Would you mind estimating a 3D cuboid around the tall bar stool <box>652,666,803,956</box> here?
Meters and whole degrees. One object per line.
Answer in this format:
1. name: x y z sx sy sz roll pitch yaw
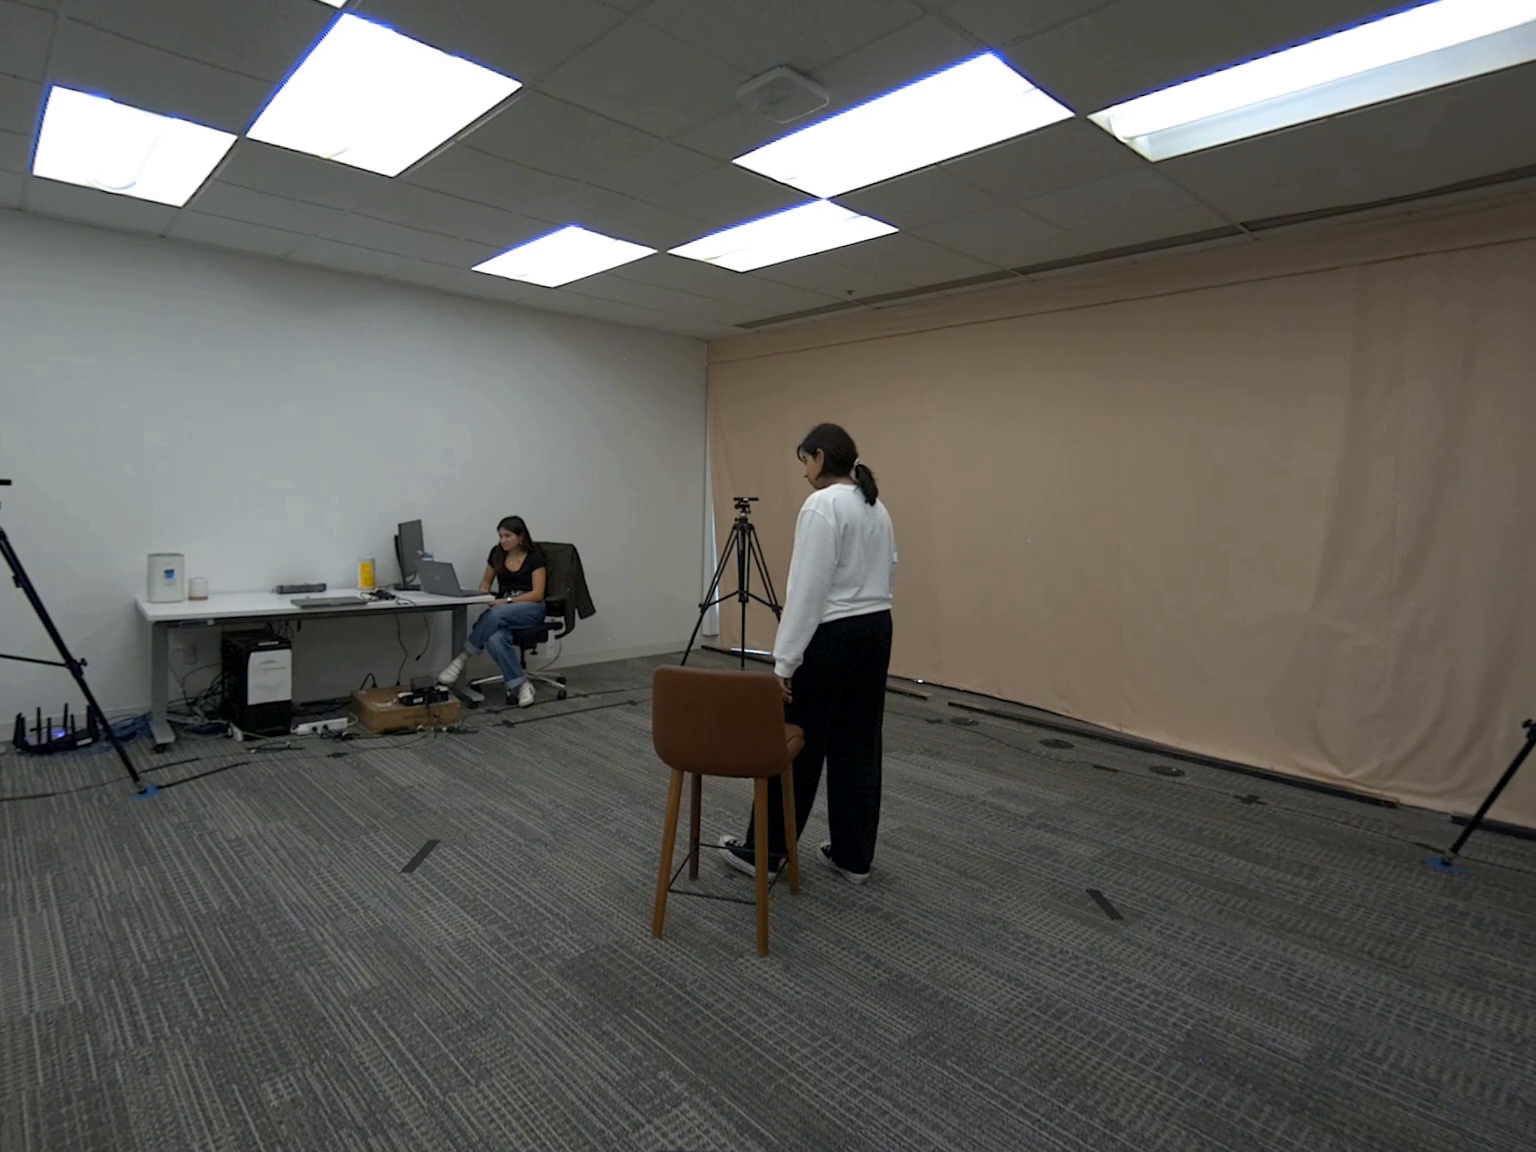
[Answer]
1. tall bar stool: -0.135 0.700 2.793 0.462 0.886 0.463 2 5 15
